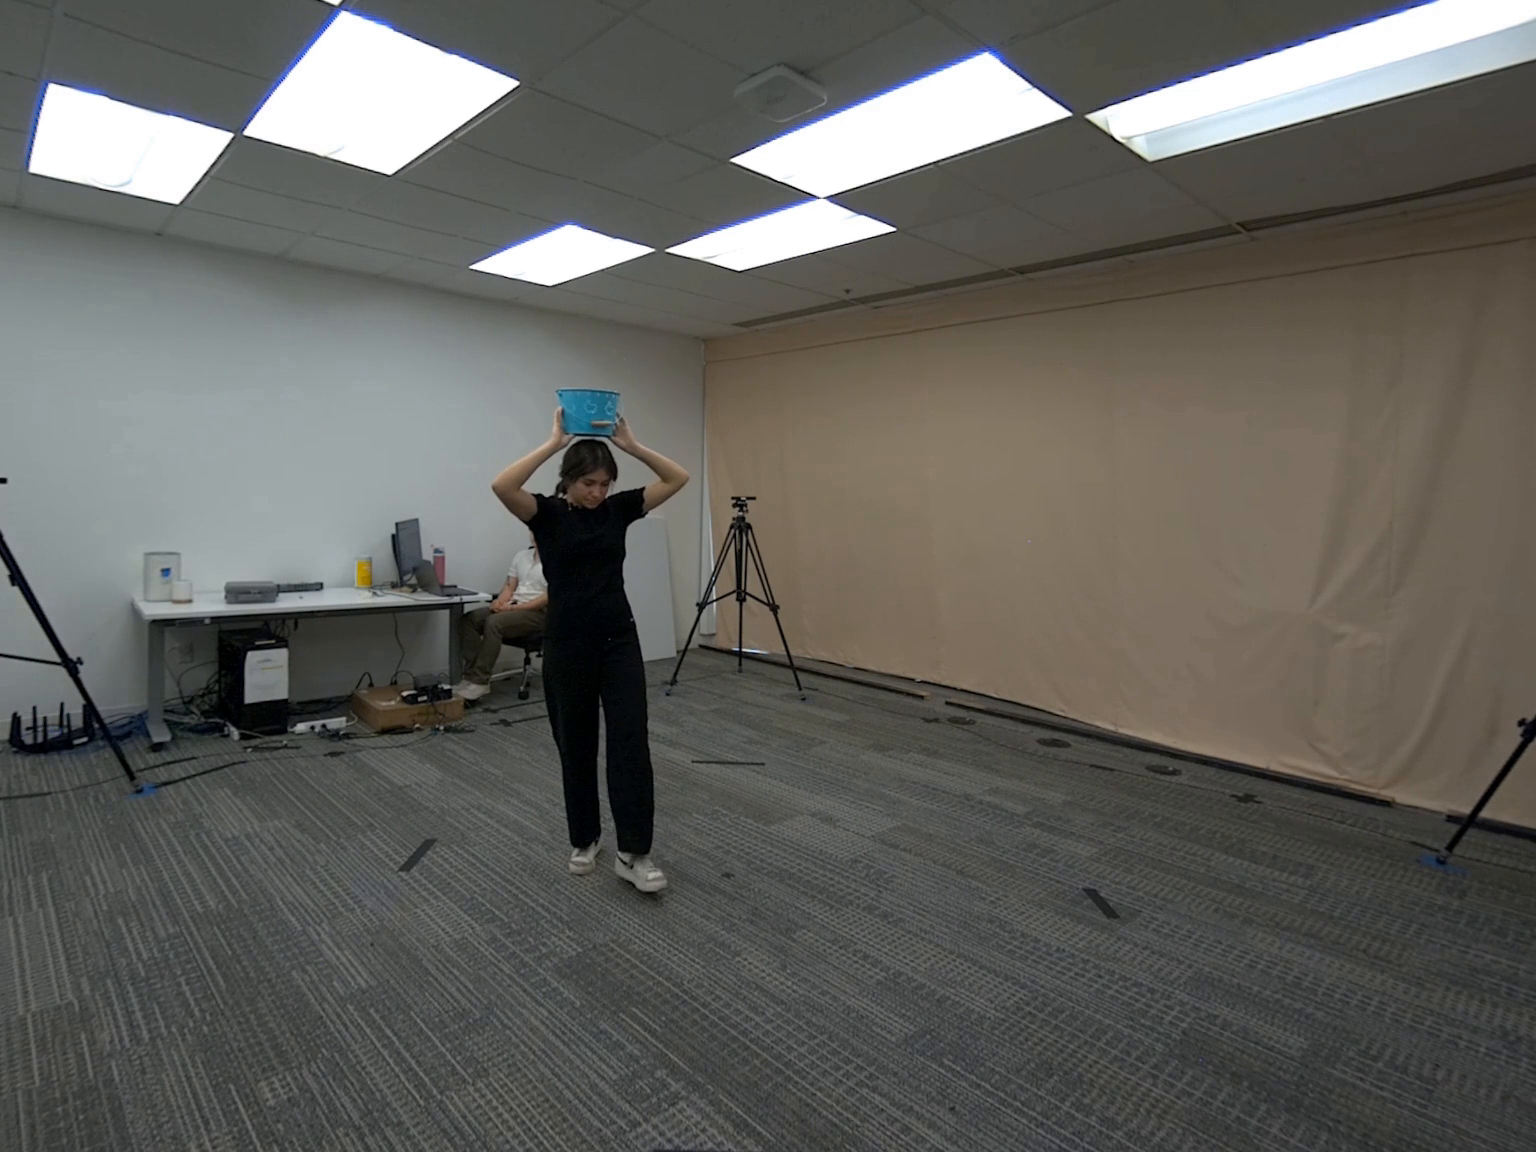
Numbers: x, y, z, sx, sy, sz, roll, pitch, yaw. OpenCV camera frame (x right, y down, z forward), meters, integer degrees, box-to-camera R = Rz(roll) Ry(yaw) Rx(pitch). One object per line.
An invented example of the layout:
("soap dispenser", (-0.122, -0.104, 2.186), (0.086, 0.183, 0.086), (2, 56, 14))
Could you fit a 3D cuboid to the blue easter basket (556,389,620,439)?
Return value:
("blue easter basket", (-0.659, -0.577, 2.995), (0.243, 0.156, 0.244), (0, 3, -1))
